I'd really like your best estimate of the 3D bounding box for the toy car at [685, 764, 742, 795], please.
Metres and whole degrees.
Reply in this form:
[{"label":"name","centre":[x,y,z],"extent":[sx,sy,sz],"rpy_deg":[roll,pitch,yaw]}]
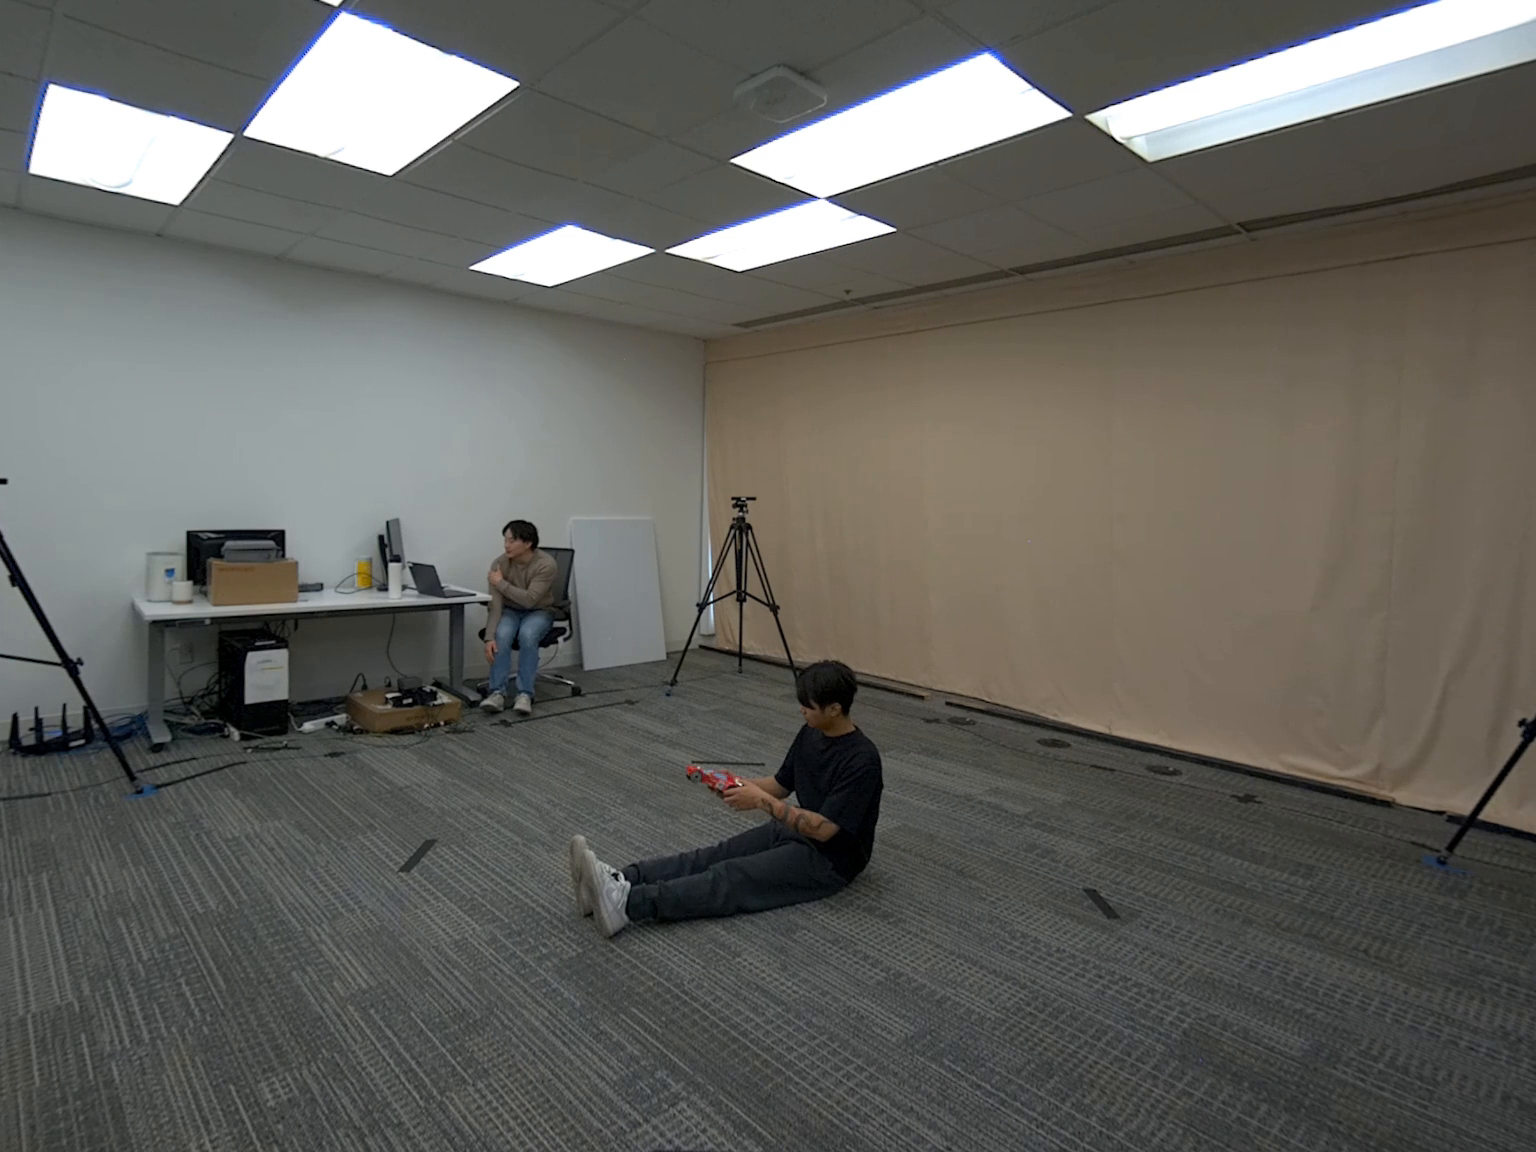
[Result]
[{"label":"toy car","centre":[-0.174,0.766,3.080],"extent":[0.253,0.083,0.130],"rpy_deg":[15,-9,-7]}]
